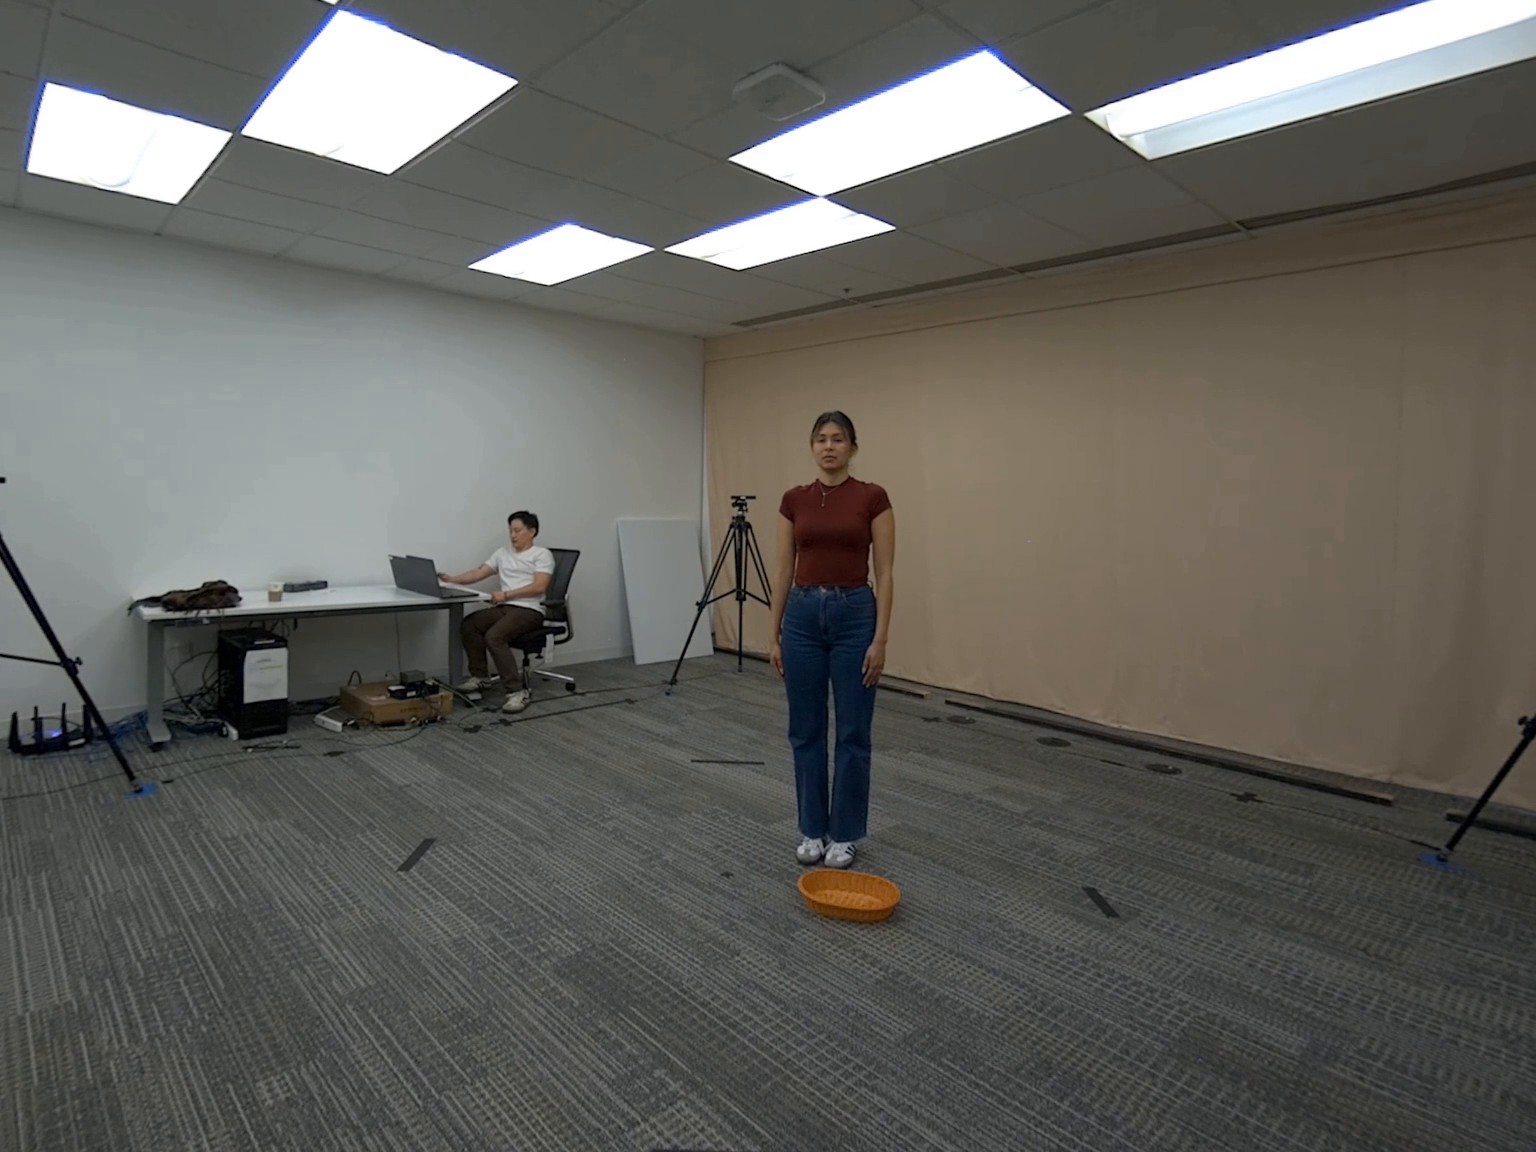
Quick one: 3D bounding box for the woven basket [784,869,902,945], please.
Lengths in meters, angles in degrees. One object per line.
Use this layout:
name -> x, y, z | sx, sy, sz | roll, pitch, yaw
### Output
woven basket -> 0.257, 1.110, 2.861 | 0.355, 0.073, 0.250 | 3, 8, 17
